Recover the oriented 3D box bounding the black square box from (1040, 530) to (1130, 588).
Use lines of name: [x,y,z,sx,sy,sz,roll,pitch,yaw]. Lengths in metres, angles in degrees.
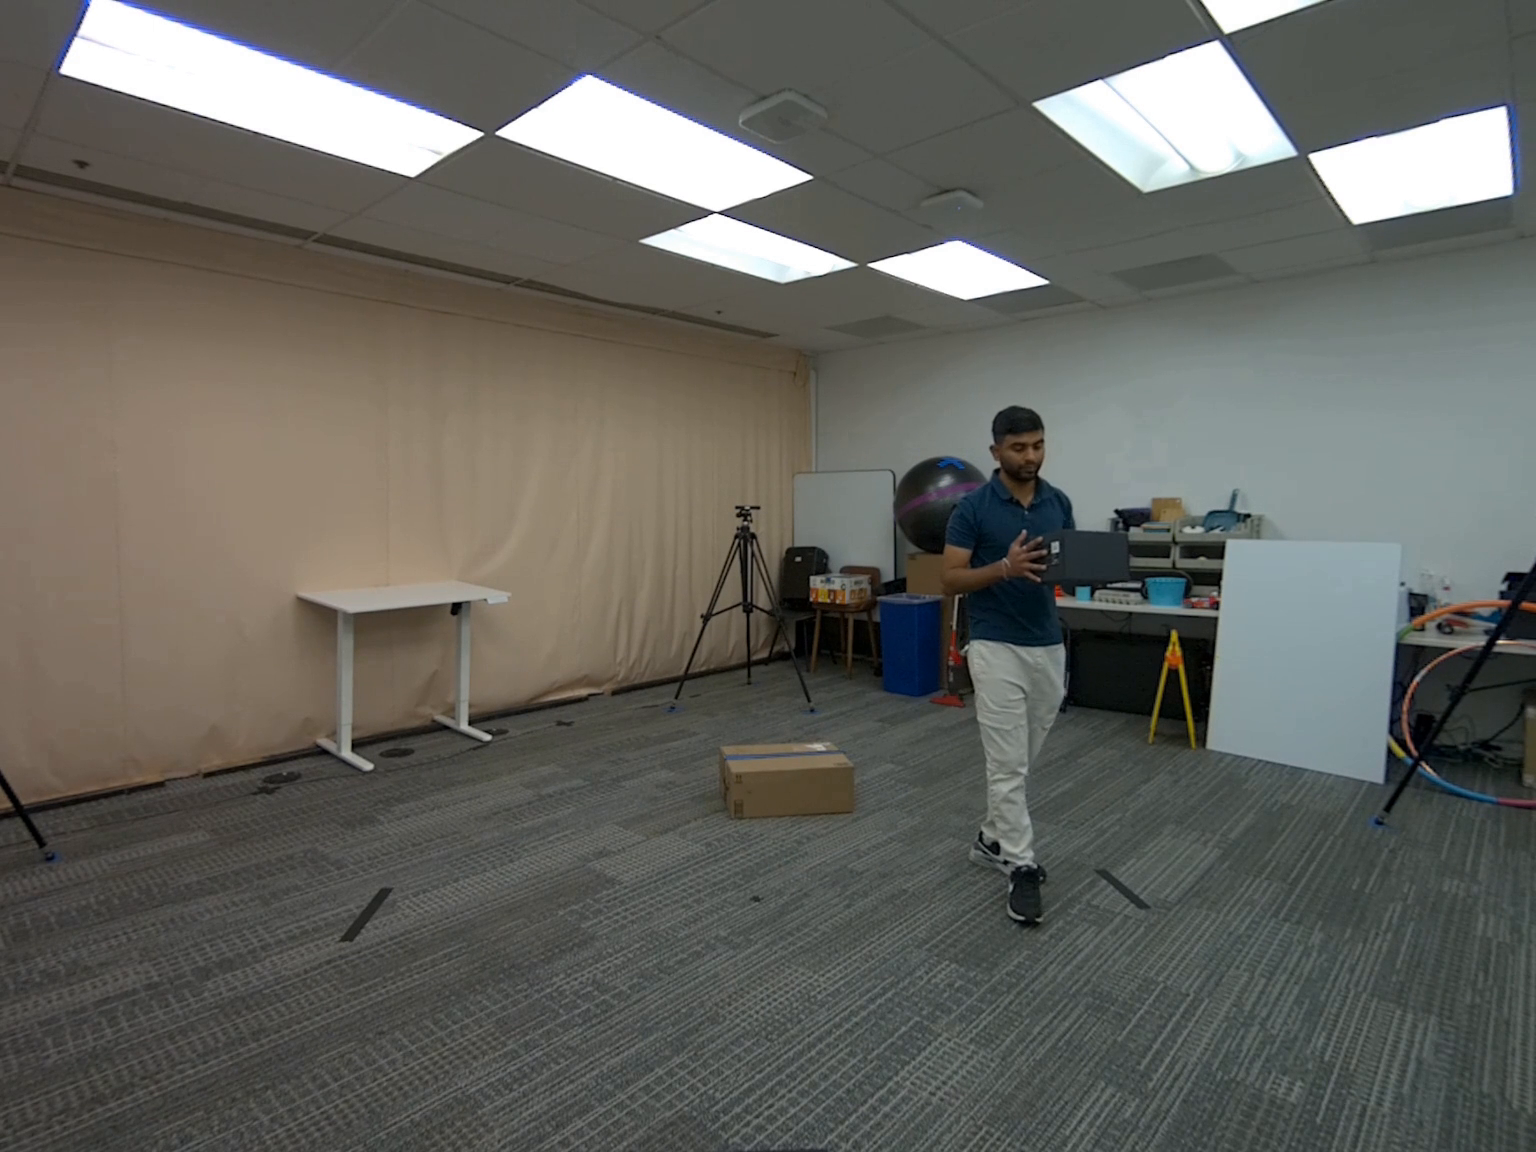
black square box: [1.000,-0.056,2.704,0.226,0.156,0.218,2,-5,-8]
